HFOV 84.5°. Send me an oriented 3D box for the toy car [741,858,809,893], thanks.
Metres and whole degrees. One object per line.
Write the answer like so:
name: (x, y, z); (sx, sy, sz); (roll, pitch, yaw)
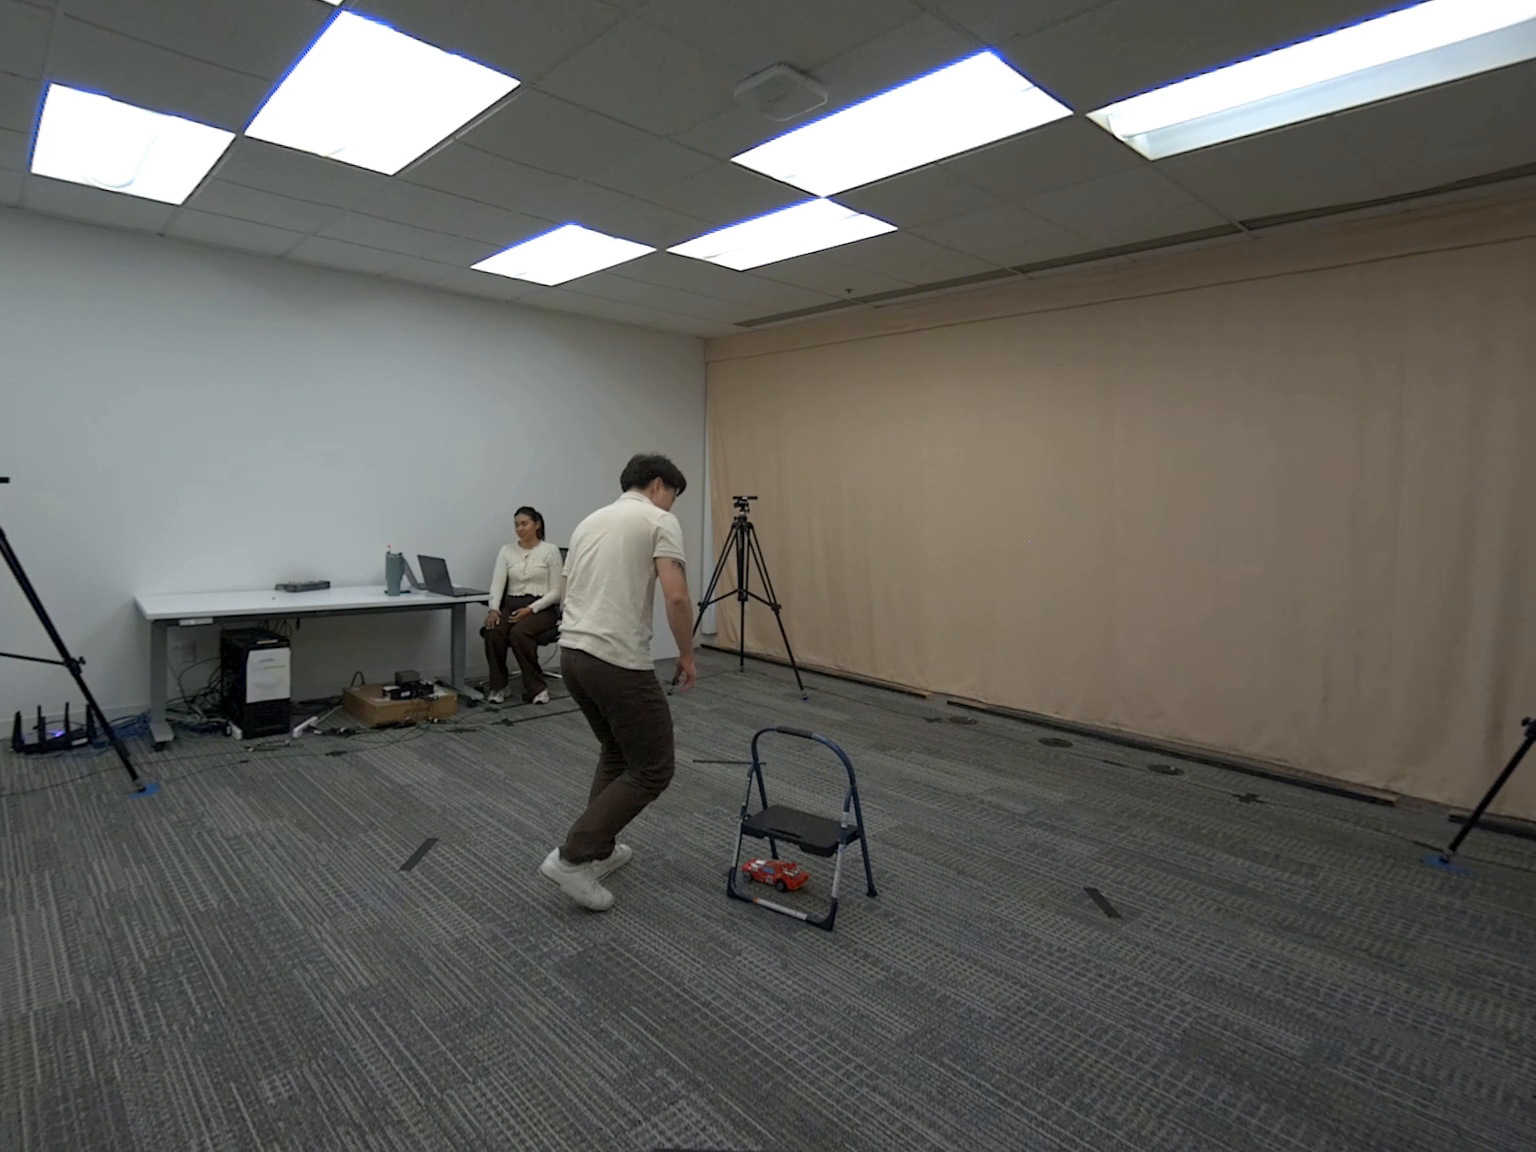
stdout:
toy car: (0.025, 1.081, 3.039); (0.259, 0.083, 0.127); (-8, -2, 34)
